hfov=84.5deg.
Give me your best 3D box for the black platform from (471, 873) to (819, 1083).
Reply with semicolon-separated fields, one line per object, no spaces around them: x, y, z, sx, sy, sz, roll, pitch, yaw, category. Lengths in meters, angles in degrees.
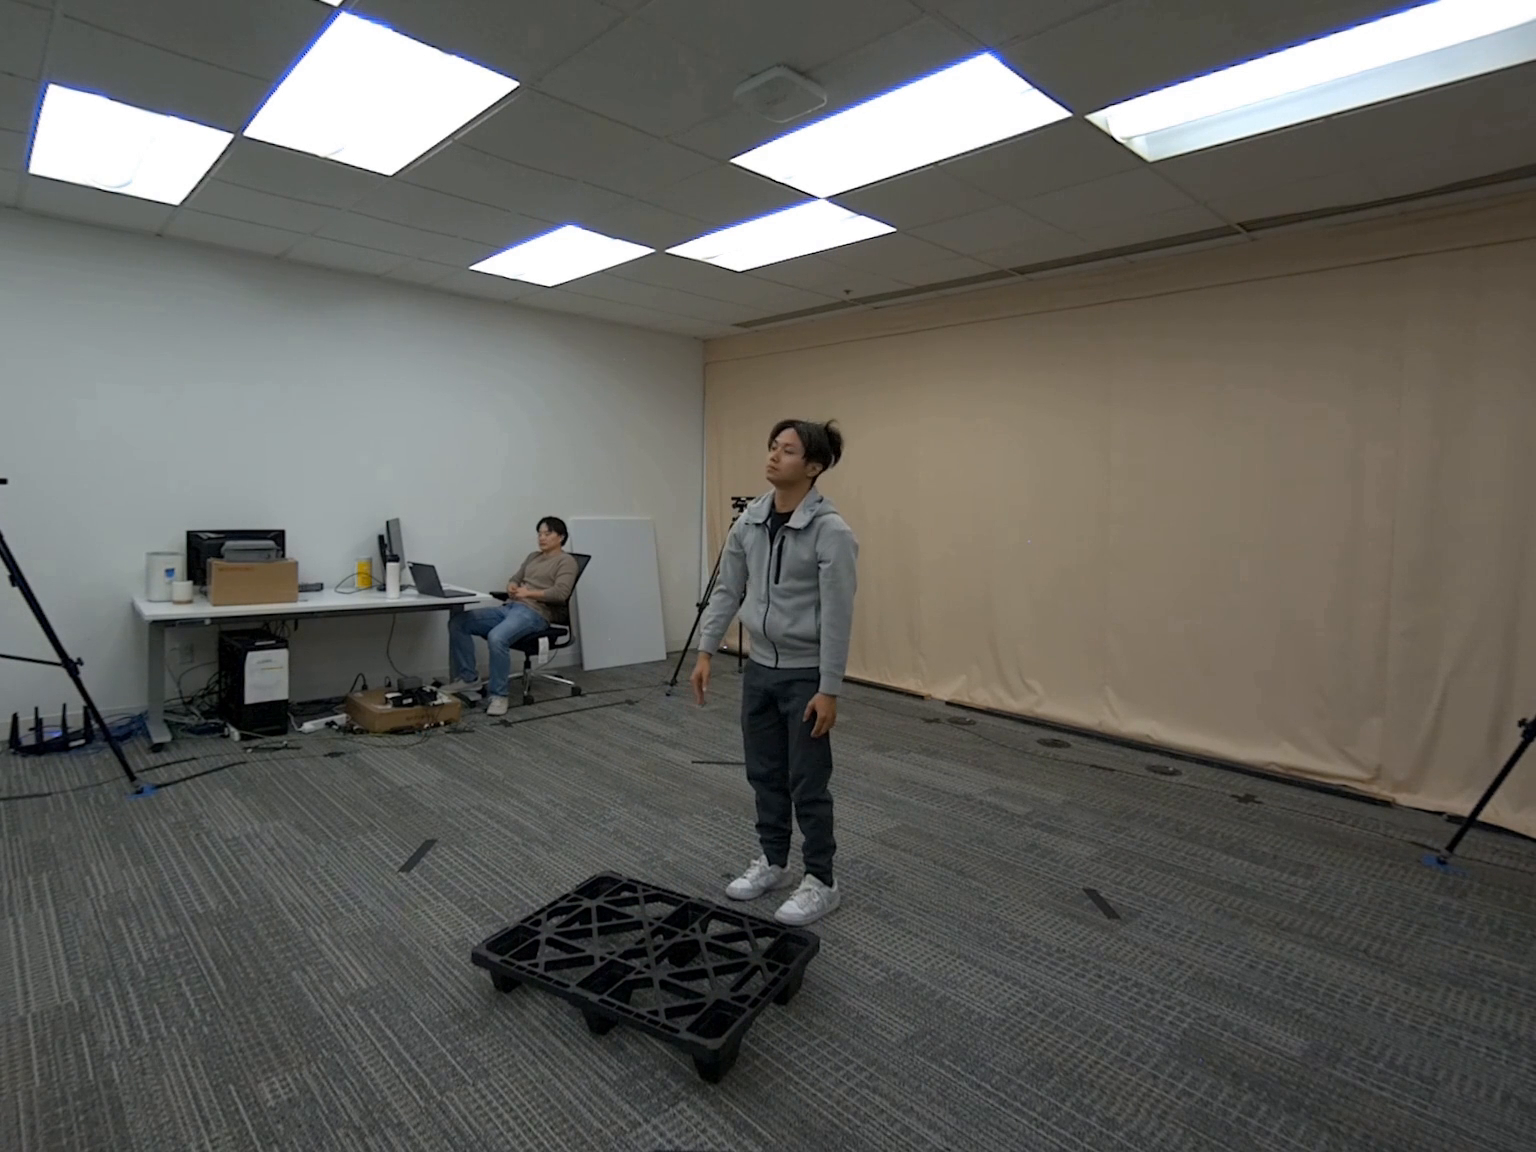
-0.338;1.101;2.372;0.823;0.143;0.594;4;7;29;black platform
